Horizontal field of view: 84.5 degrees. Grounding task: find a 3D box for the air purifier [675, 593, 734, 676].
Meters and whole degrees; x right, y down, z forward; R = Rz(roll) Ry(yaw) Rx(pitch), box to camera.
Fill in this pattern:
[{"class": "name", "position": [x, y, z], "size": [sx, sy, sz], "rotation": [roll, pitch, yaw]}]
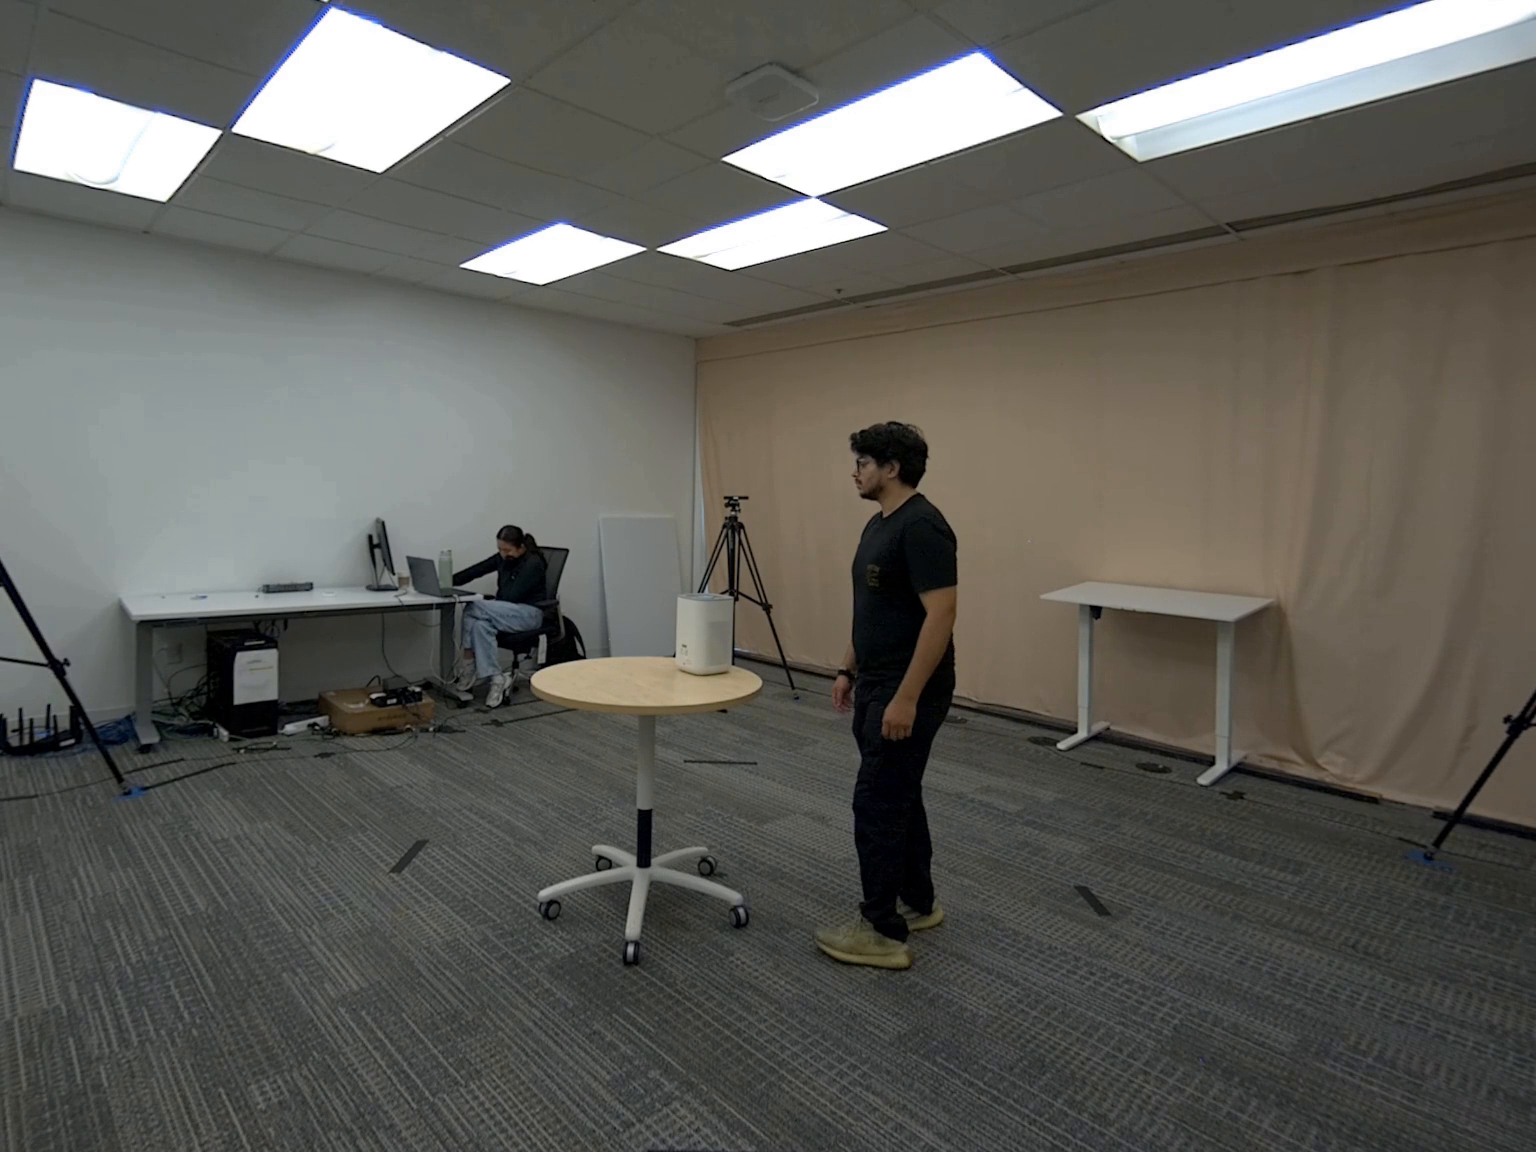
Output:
[{"class": "air purifier", "position": [-0.226, 0.203, 2.957], "size": [0.167, 0.265, 0.175], "rotation": [0, 4, -42]}]
